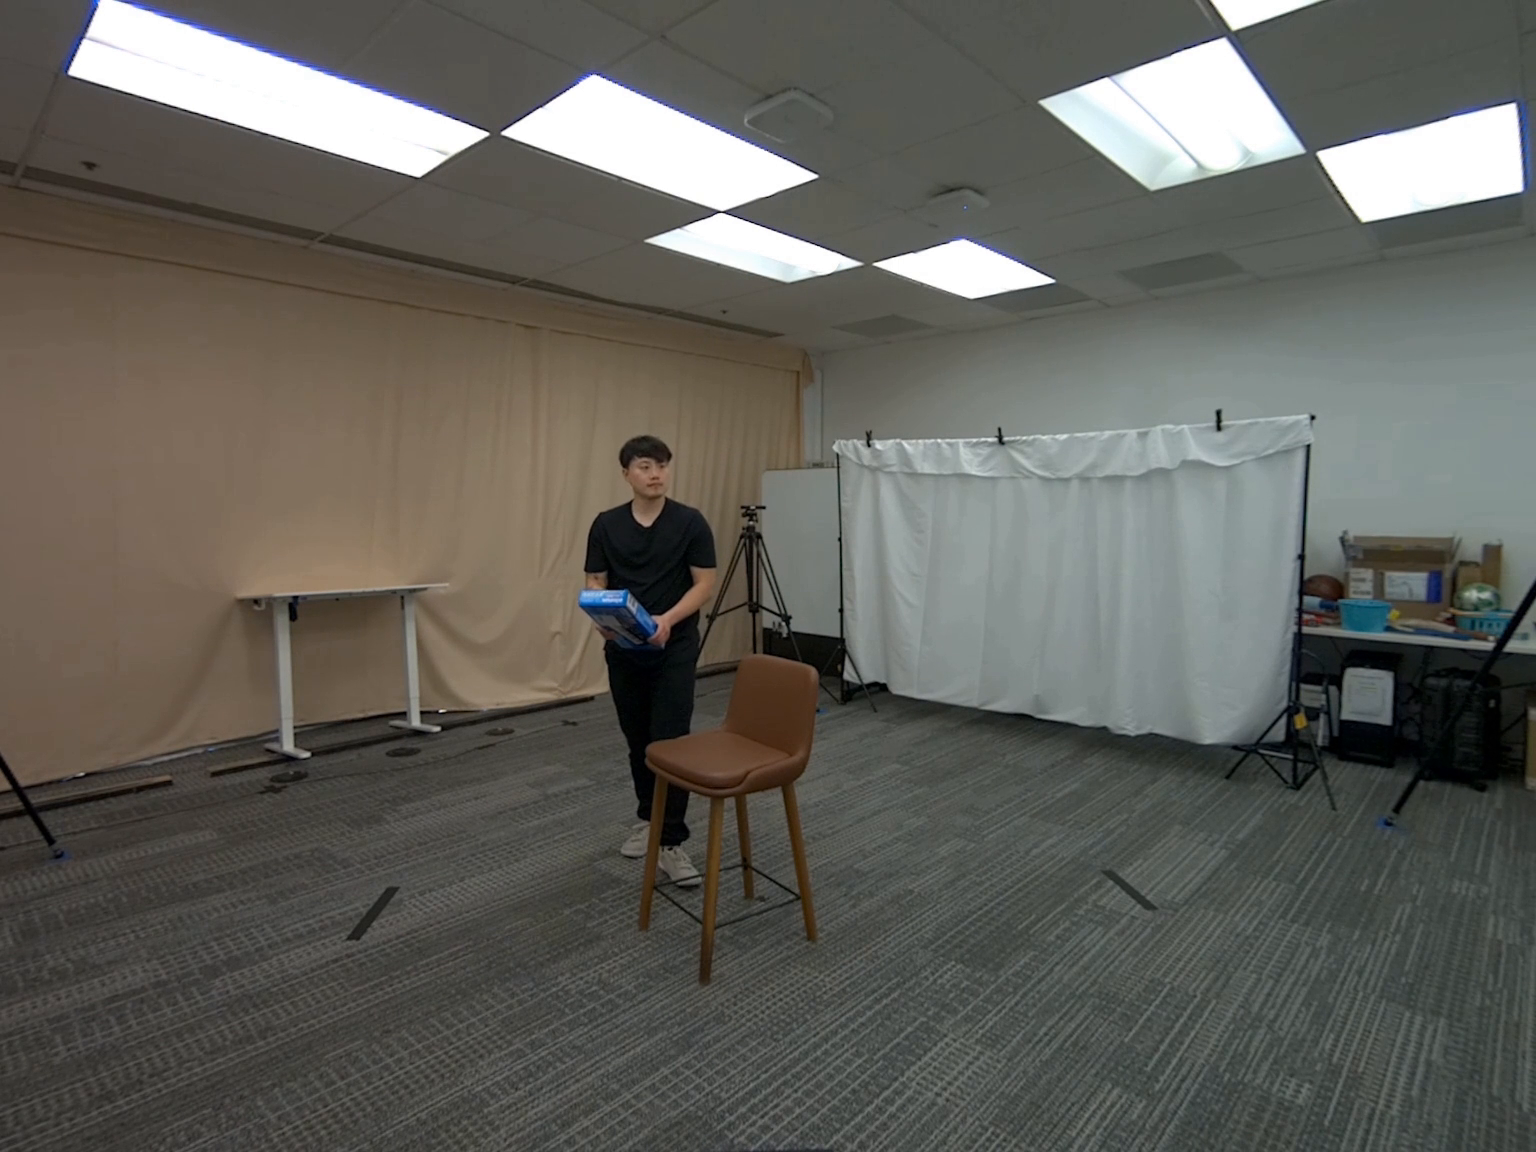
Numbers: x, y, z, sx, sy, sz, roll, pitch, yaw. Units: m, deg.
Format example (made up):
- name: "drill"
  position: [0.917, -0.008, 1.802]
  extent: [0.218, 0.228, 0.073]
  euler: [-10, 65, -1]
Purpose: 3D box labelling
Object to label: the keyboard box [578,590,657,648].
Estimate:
- name: "keyboard box"
  position: [-0.517, 0.154, 2.995]
  extent: [0.179, 0.060, 0.425]
  euler: [0, -24, 13]
